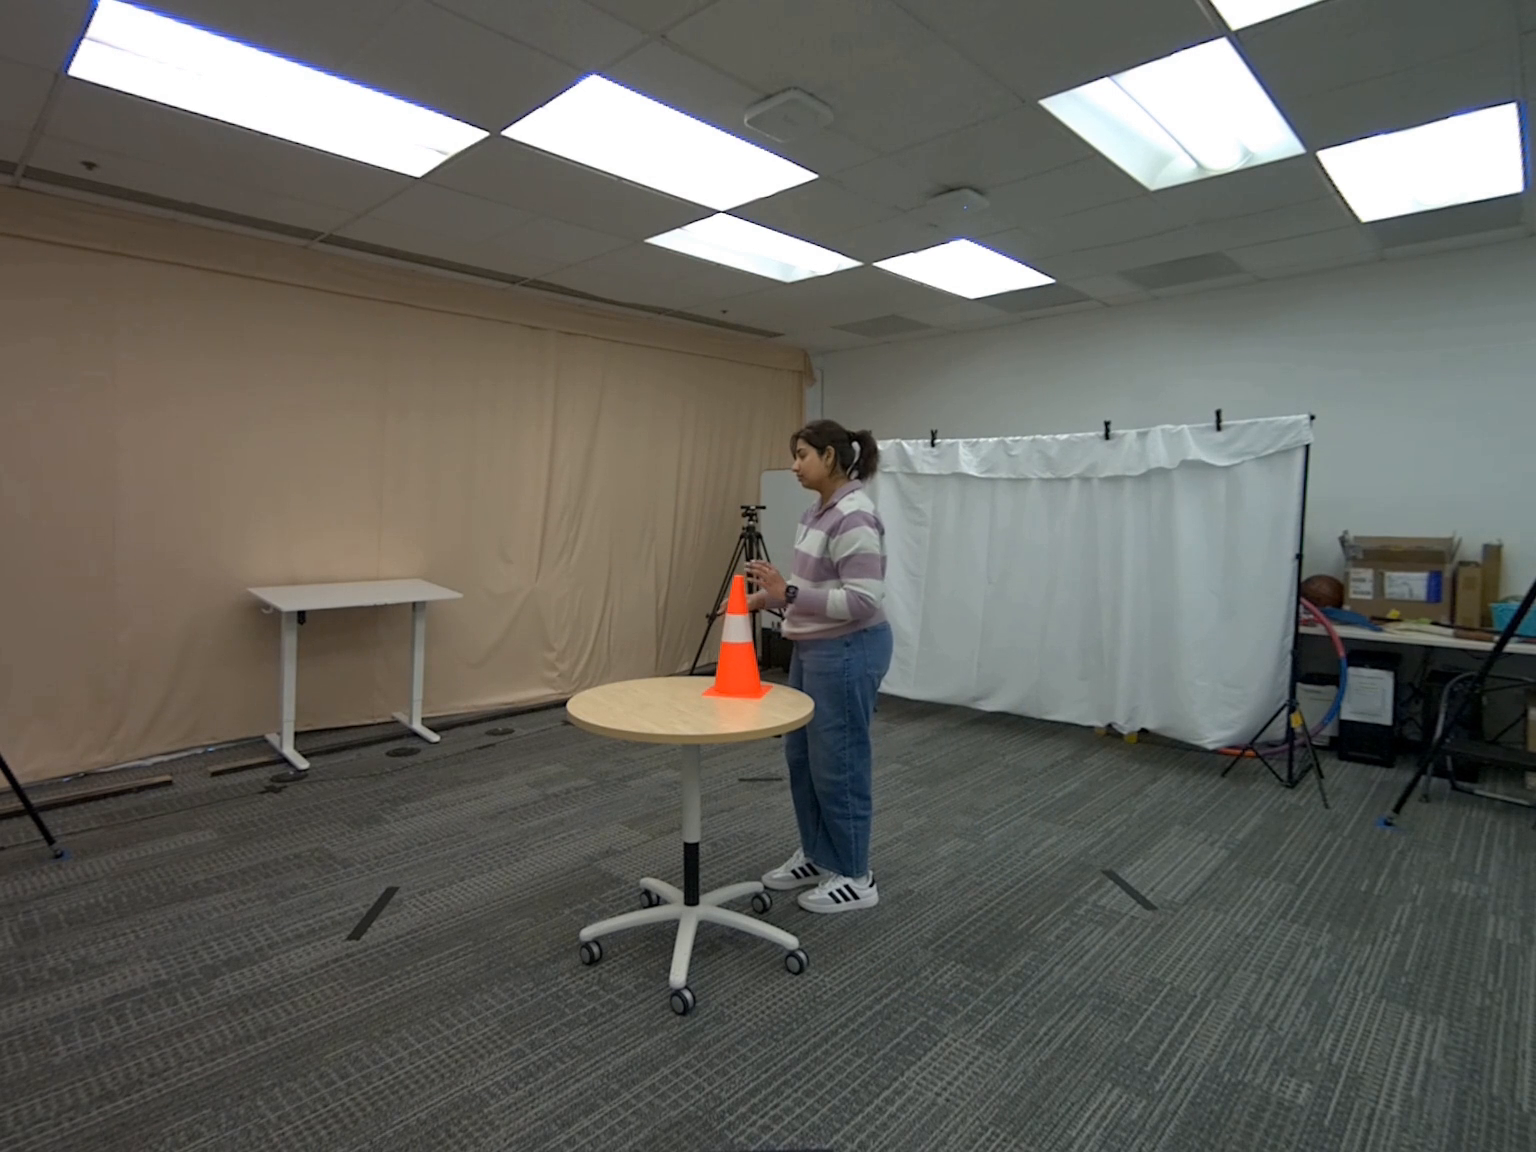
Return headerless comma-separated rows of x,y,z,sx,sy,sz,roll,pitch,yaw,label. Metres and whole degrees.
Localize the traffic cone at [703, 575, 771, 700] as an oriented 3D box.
-0.090,0.192,2.771,0.208,0.383,0.200,2,2,15,traffic cone
